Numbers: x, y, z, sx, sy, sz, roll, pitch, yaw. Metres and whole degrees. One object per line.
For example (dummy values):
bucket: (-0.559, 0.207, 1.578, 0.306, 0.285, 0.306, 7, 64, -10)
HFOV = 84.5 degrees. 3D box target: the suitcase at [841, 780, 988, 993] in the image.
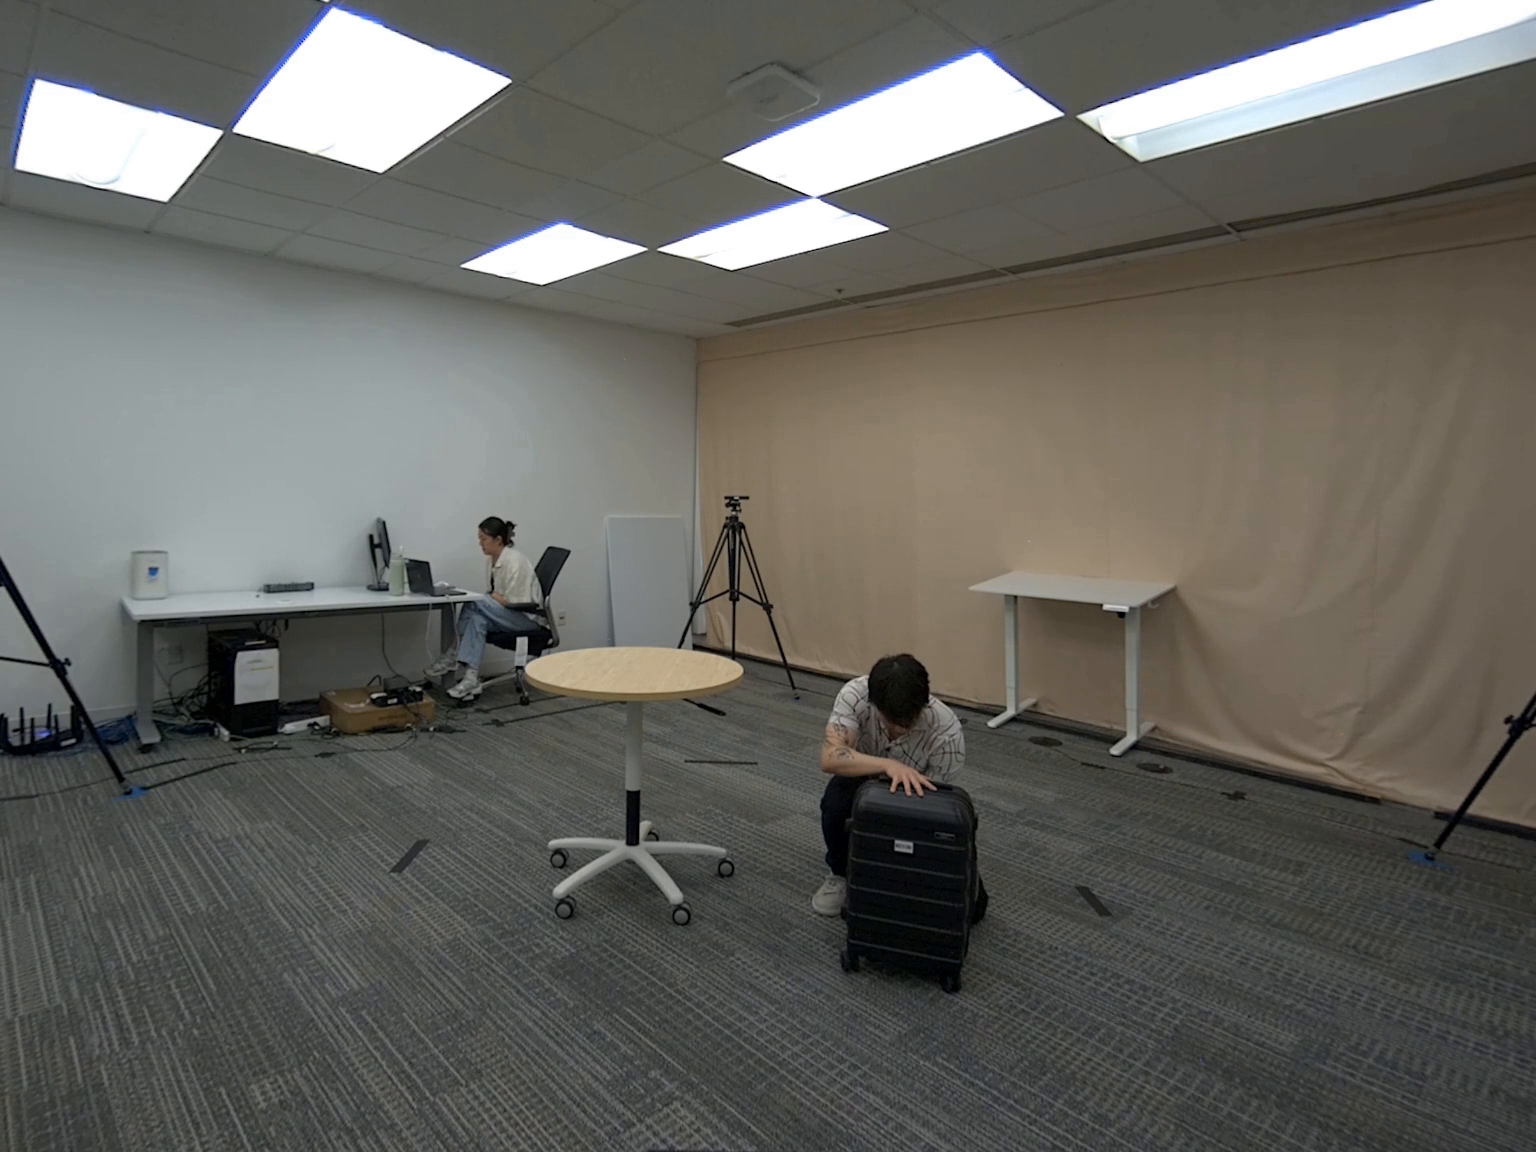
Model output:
suitcase: (0.419, 0.901, 2.517, 0.381, 0.547, 0.245, 5, 5, 18)
